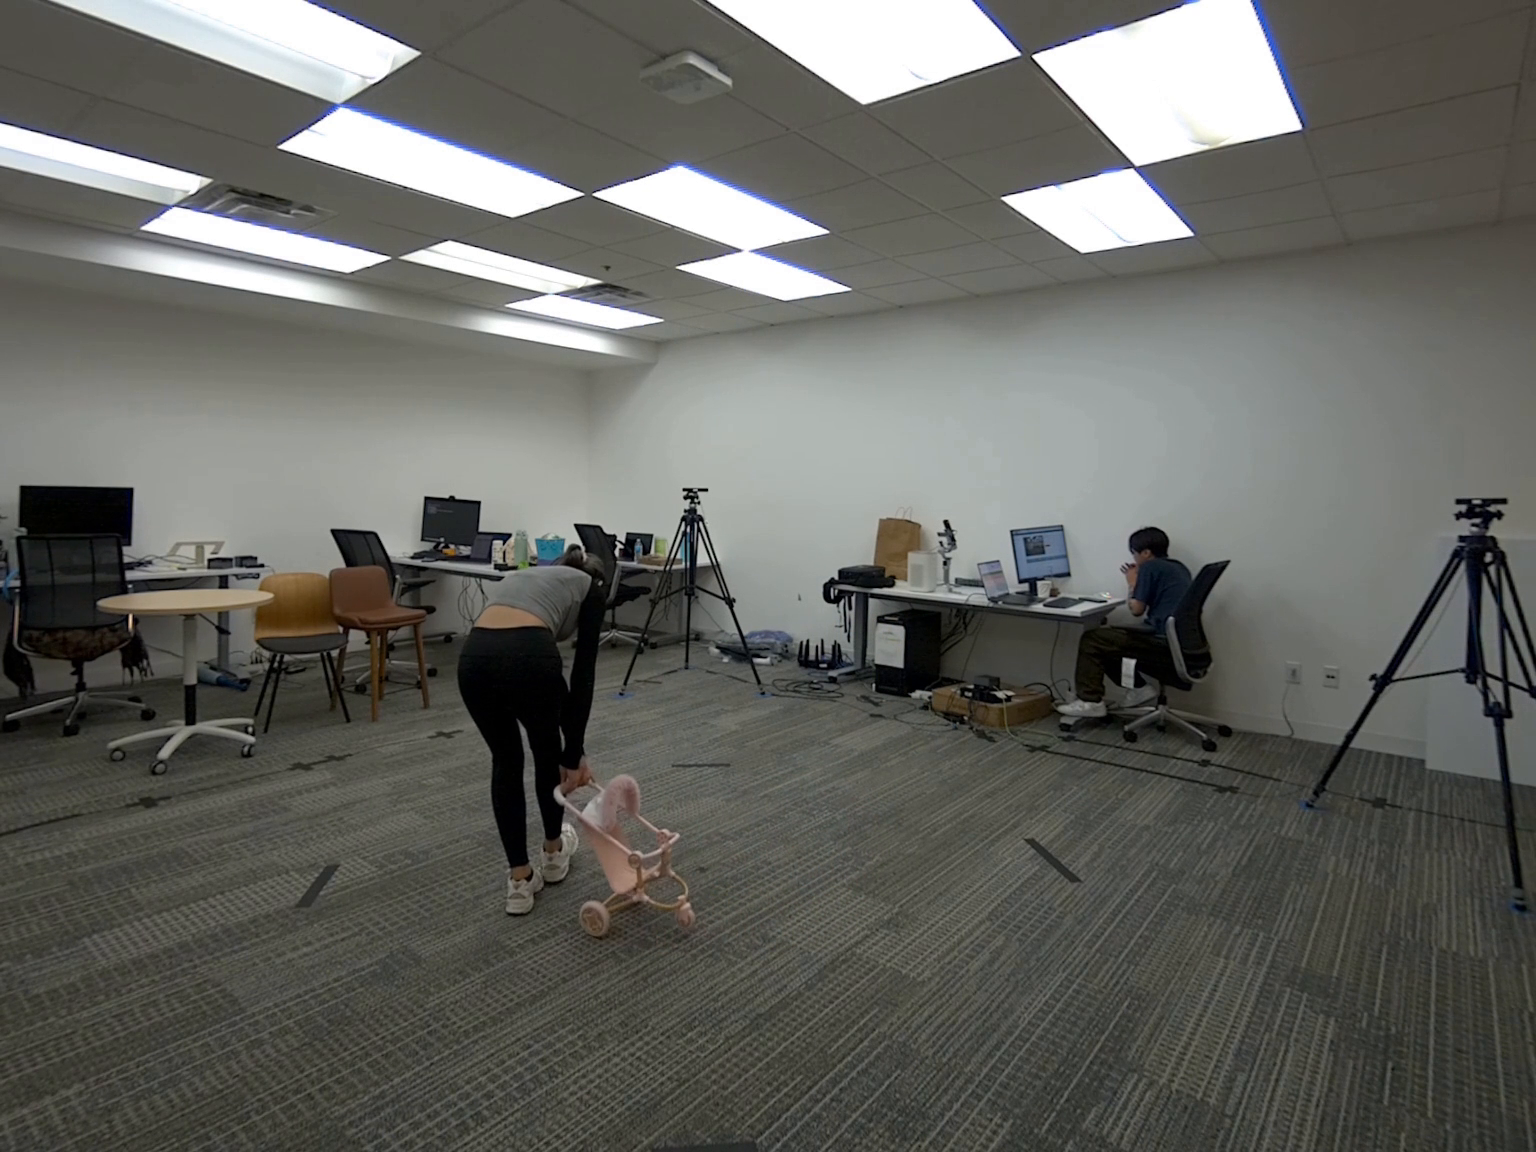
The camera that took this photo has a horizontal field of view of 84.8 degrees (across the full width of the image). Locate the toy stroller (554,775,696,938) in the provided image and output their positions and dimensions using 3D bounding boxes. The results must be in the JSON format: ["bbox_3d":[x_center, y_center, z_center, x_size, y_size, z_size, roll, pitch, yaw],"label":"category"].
[{"bbox_3d":[-0.455,0.877,2.708,0.347,0.539,0.275,-19,-6,26],"label":"toy stroller"}]
